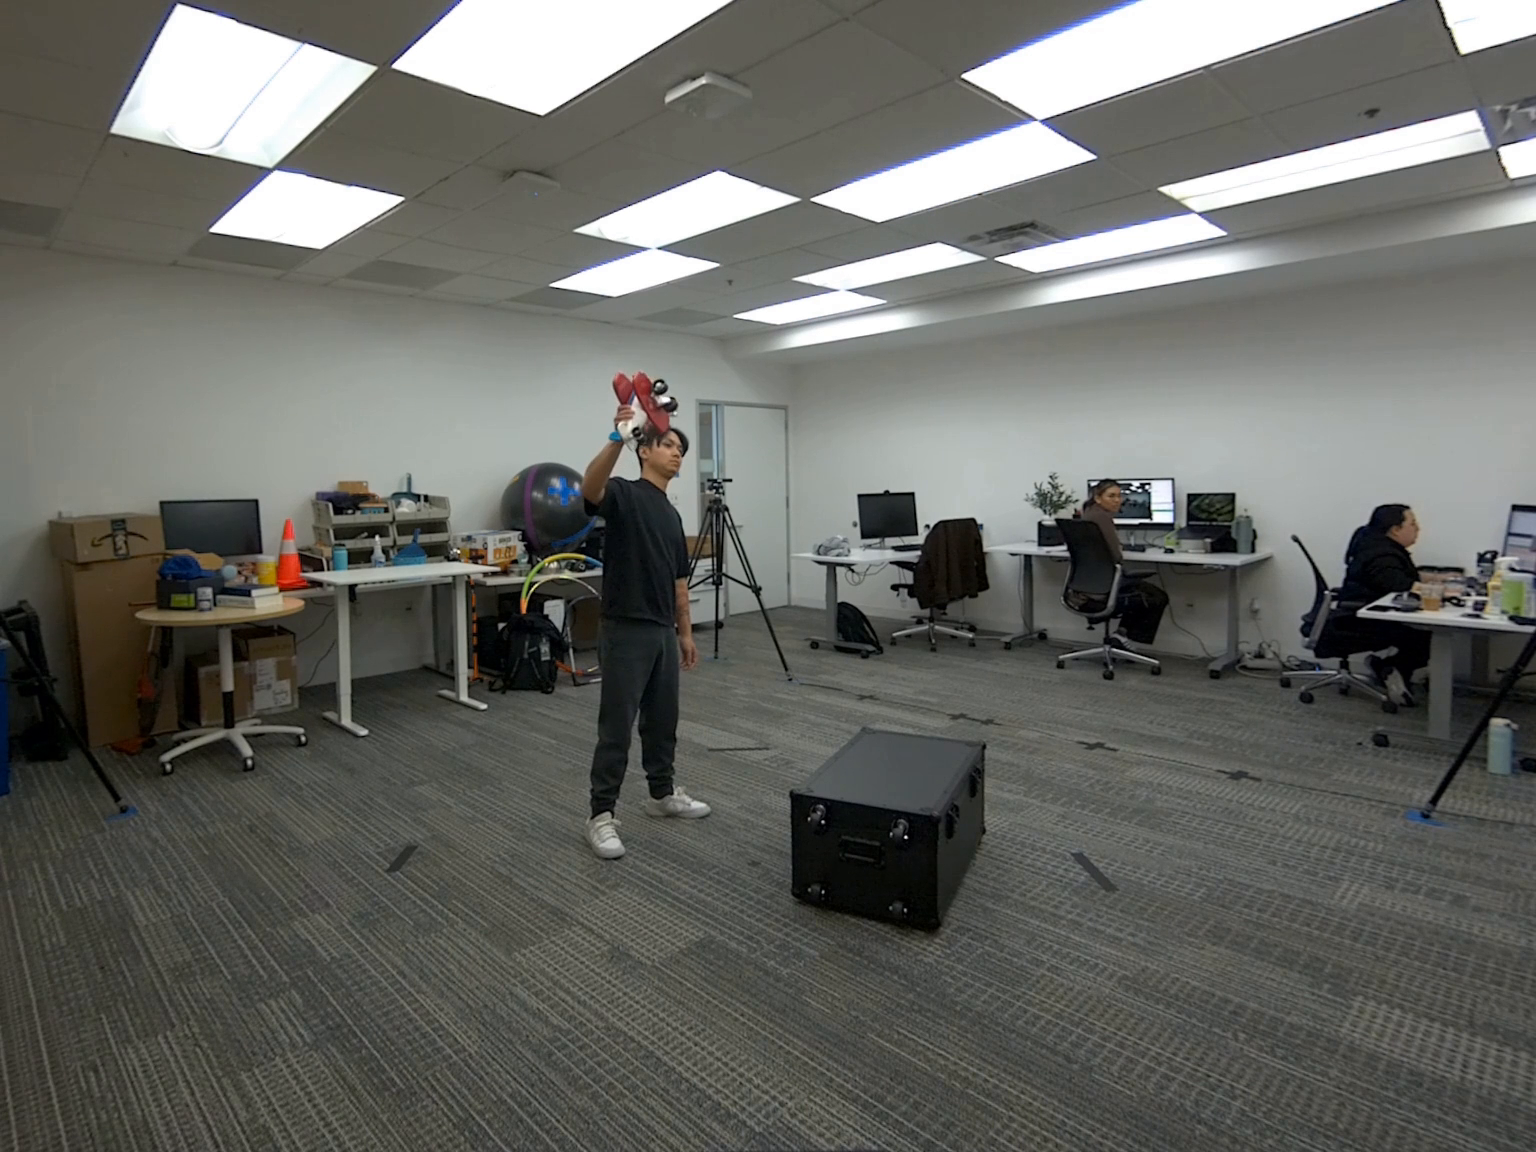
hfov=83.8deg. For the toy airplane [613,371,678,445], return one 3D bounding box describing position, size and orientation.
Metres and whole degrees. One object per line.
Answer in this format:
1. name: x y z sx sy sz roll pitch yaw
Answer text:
1. toy airplane: -0.427 -0.556 2.842 0.161 0.245 0.257 16 35 32
